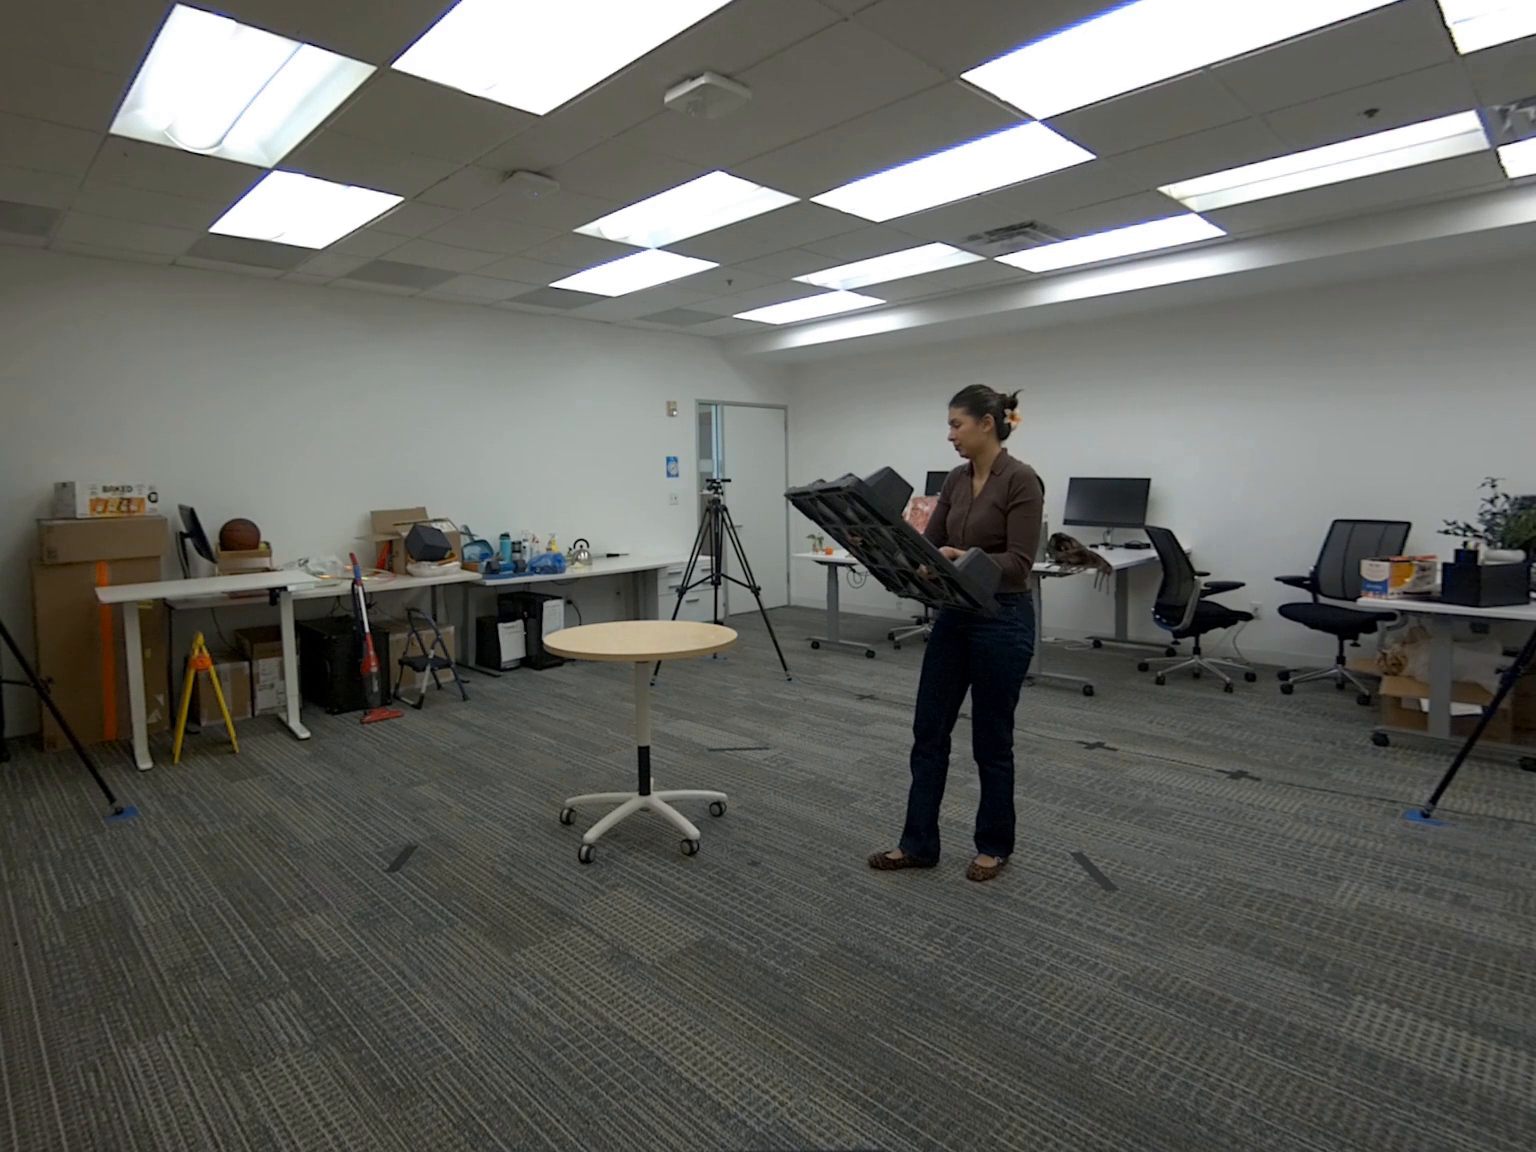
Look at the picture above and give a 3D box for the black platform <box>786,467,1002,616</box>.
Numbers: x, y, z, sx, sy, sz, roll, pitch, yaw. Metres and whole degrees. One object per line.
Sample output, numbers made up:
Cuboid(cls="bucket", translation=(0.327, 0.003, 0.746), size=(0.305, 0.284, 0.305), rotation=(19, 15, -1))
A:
Cuboid(cls="black platform", translation=(0.409, -0.134, 2.858), size=(0.598, 0.143, 0.815), rotation=(41, -6, -10))
